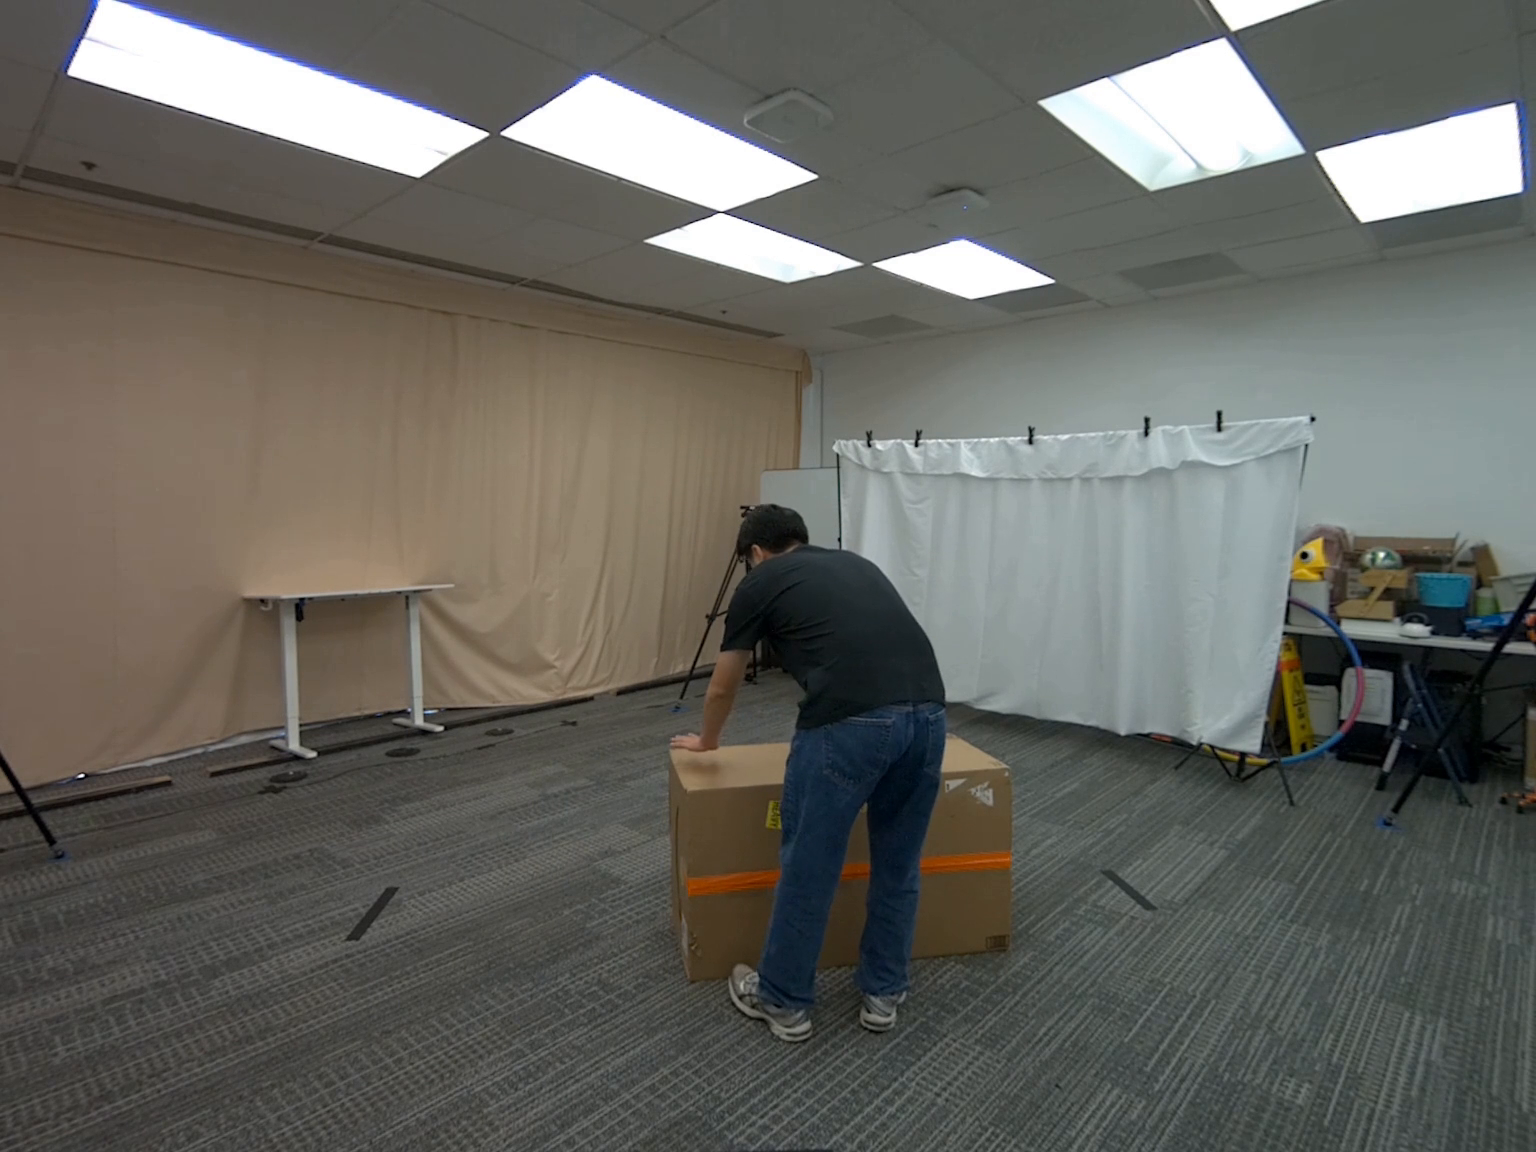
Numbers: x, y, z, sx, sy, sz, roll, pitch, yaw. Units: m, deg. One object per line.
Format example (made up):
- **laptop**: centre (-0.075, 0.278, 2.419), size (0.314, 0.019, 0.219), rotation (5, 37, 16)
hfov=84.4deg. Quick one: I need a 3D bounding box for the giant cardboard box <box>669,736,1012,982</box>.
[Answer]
- **giant cardboard box**: centre (0.214, 0.874, 2.736), size (1.015, 0.582, 0.453), rotation (-2, 5, -11)
